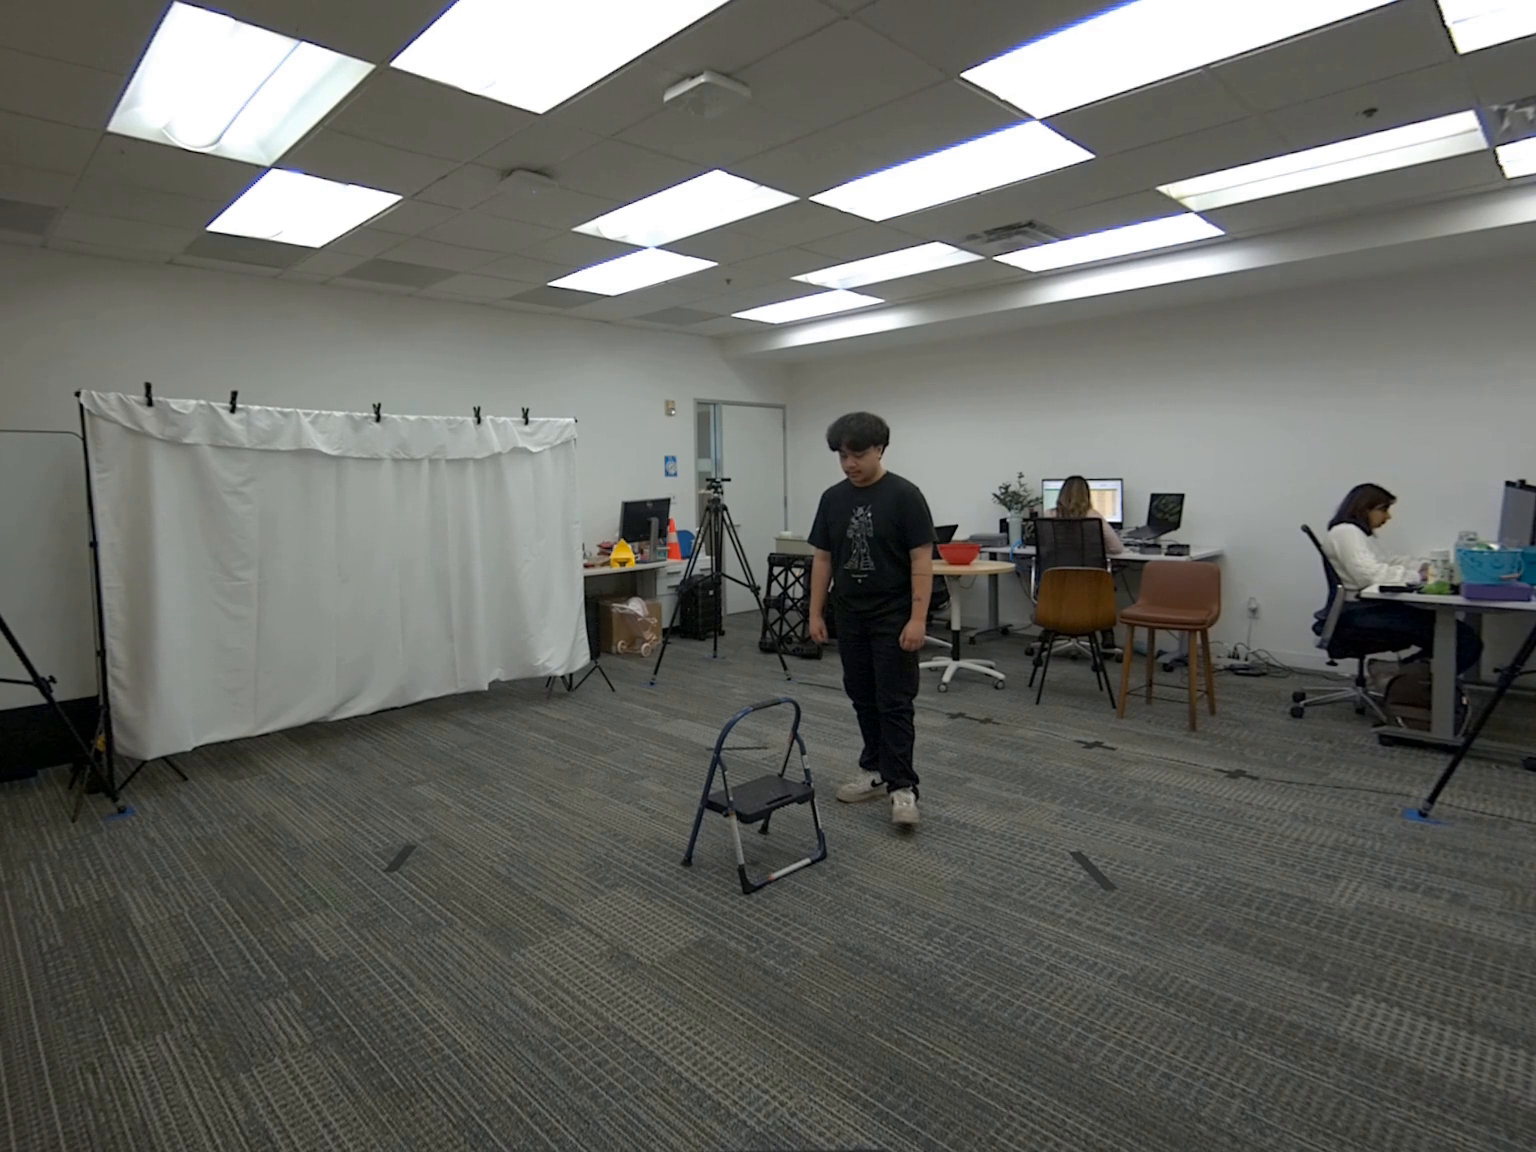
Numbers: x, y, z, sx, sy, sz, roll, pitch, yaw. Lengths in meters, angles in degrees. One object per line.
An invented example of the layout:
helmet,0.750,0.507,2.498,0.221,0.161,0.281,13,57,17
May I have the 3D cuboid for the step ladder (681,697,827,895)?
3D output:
step ladder,-0.050,0.738,3.104,0.419,0.604,0.360,-6,6,-44
